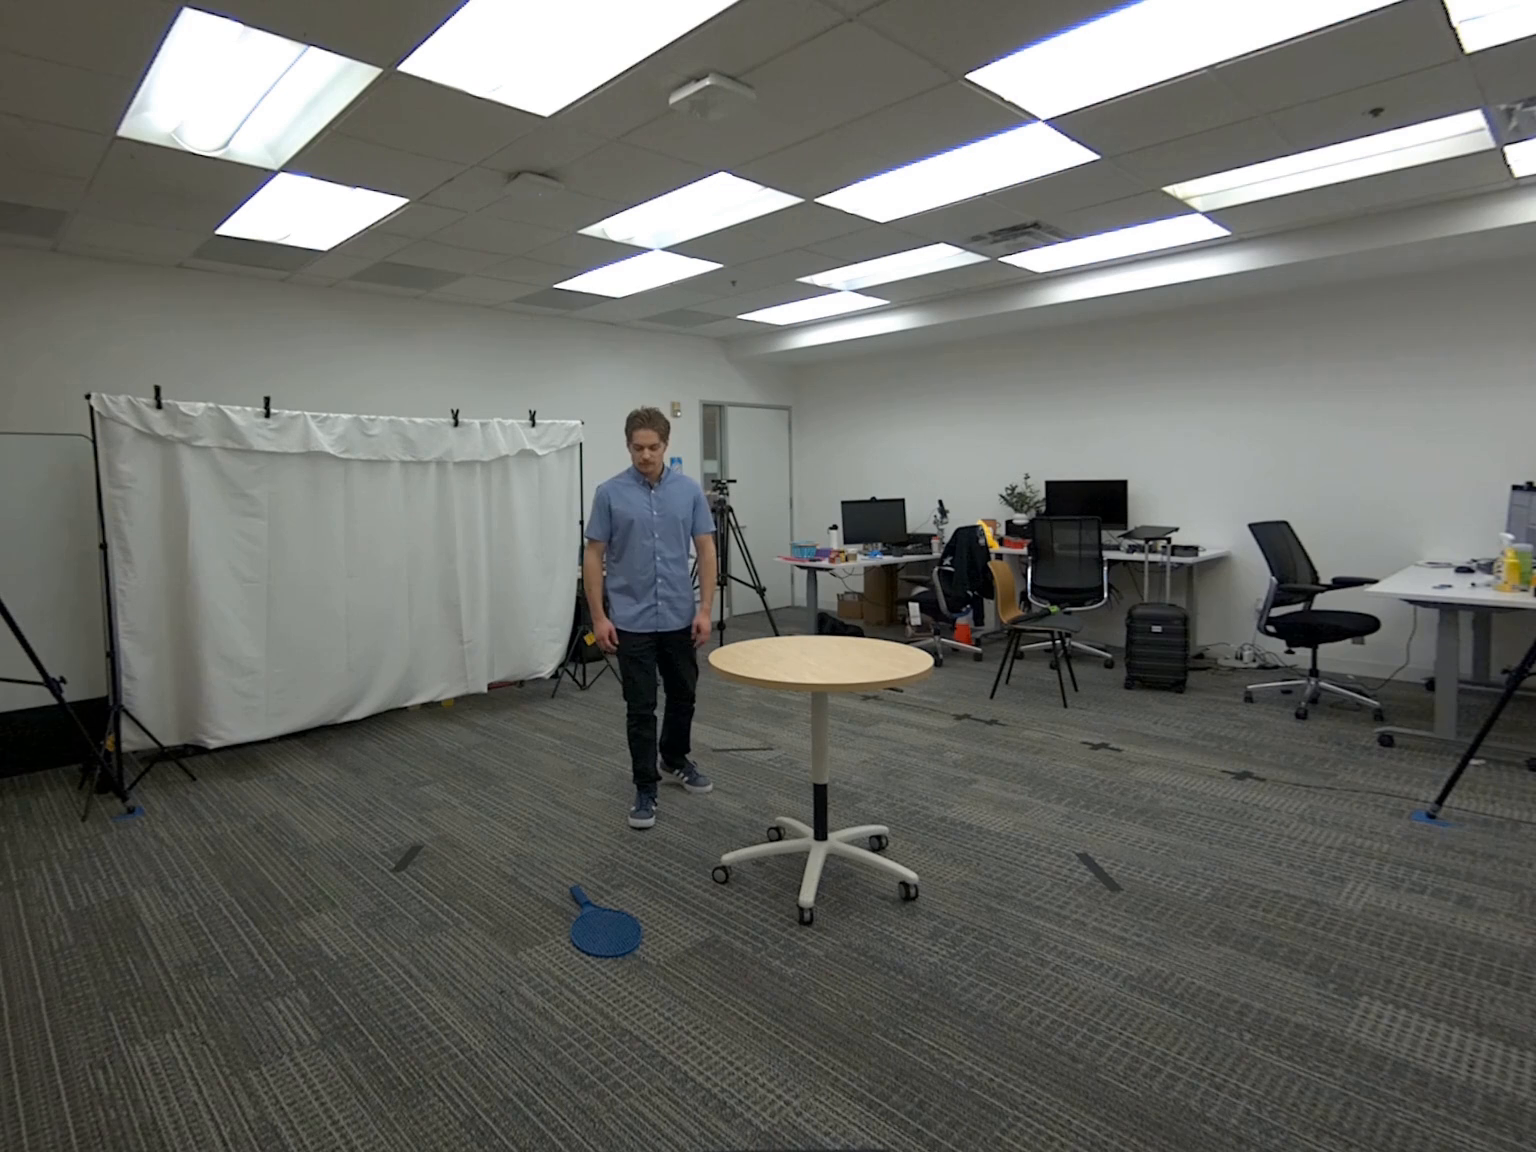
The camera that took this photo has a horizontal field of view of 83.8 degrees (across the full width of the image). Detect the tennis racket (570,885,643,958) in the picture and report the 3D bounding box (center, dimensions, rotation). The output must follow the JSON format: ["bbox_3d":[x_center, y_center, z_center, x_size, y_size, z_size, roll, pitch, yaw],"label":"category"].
[{"bbox_3d":[-0.538,1.093,2.711,0.209,0.031,0.446,-6,9,-31],"label":"tennis racket"}]
